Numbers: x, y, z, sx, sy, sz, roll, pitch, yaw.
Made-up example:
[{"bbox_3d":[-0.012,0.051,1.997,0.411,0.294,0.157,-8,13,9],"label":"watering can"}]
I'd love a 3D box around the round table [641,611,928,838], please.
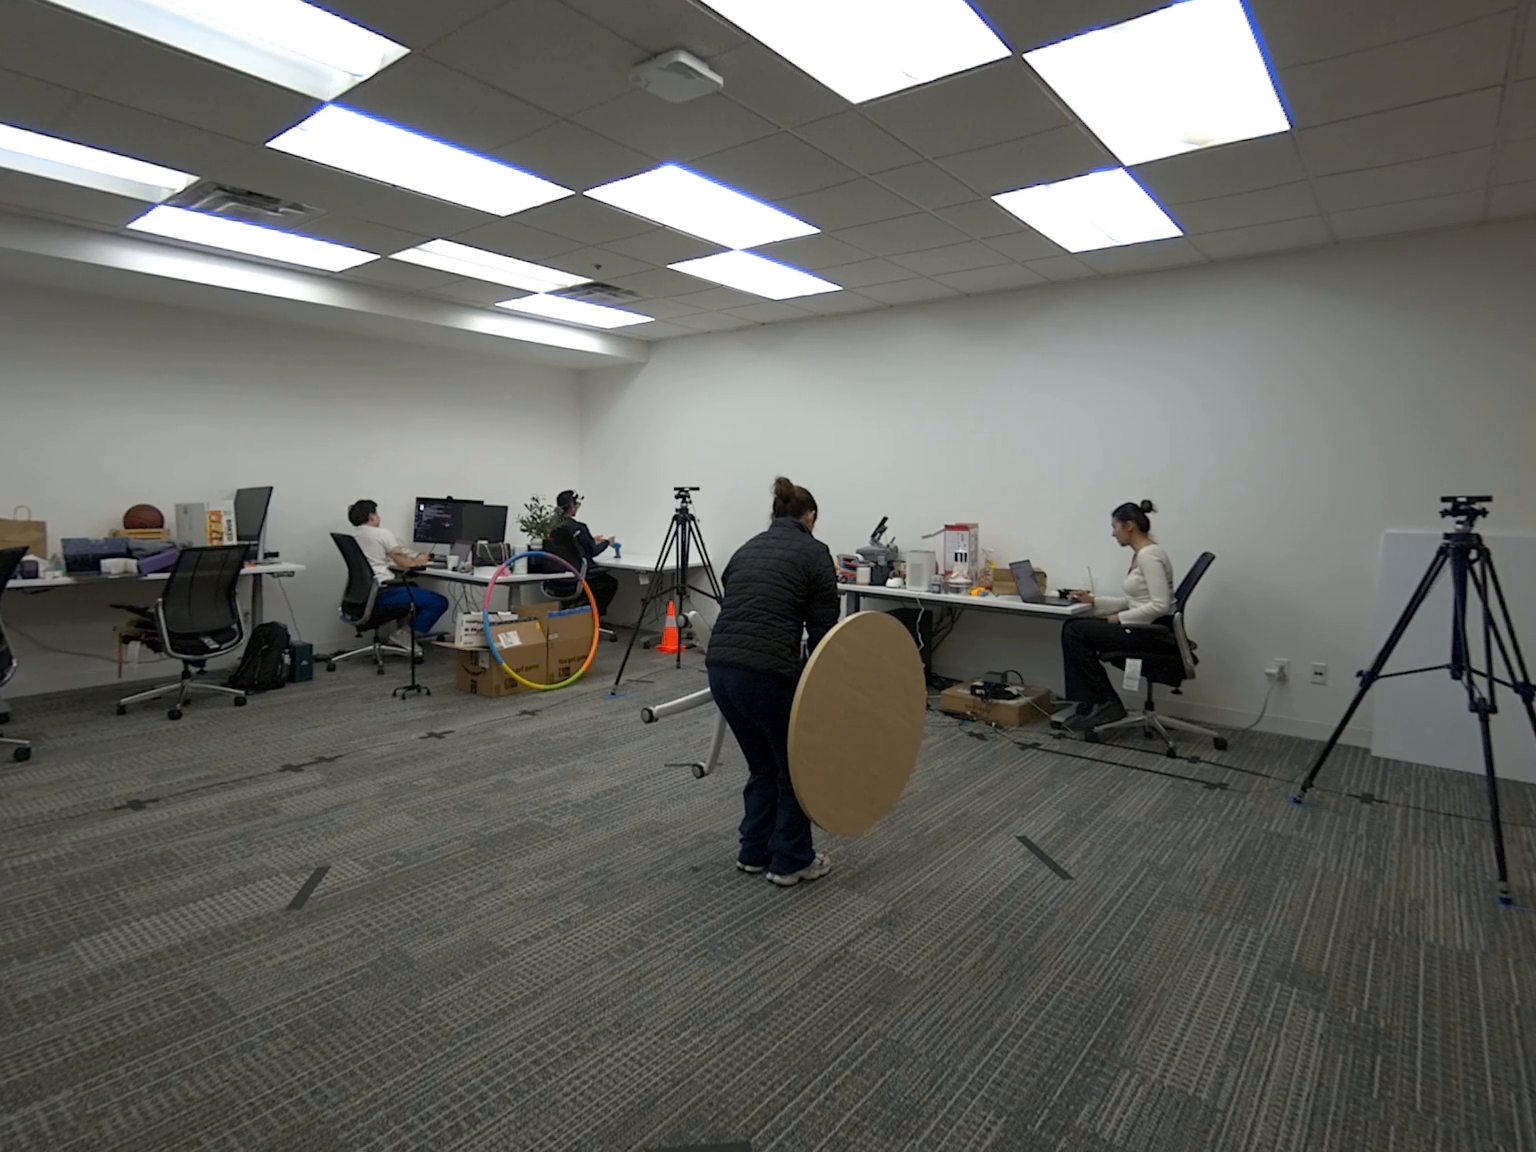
[{"bbox_3d":[0.051,0.480,3.221,0.813,0.783,0.761,4,5,44],"label":"round table"}]
